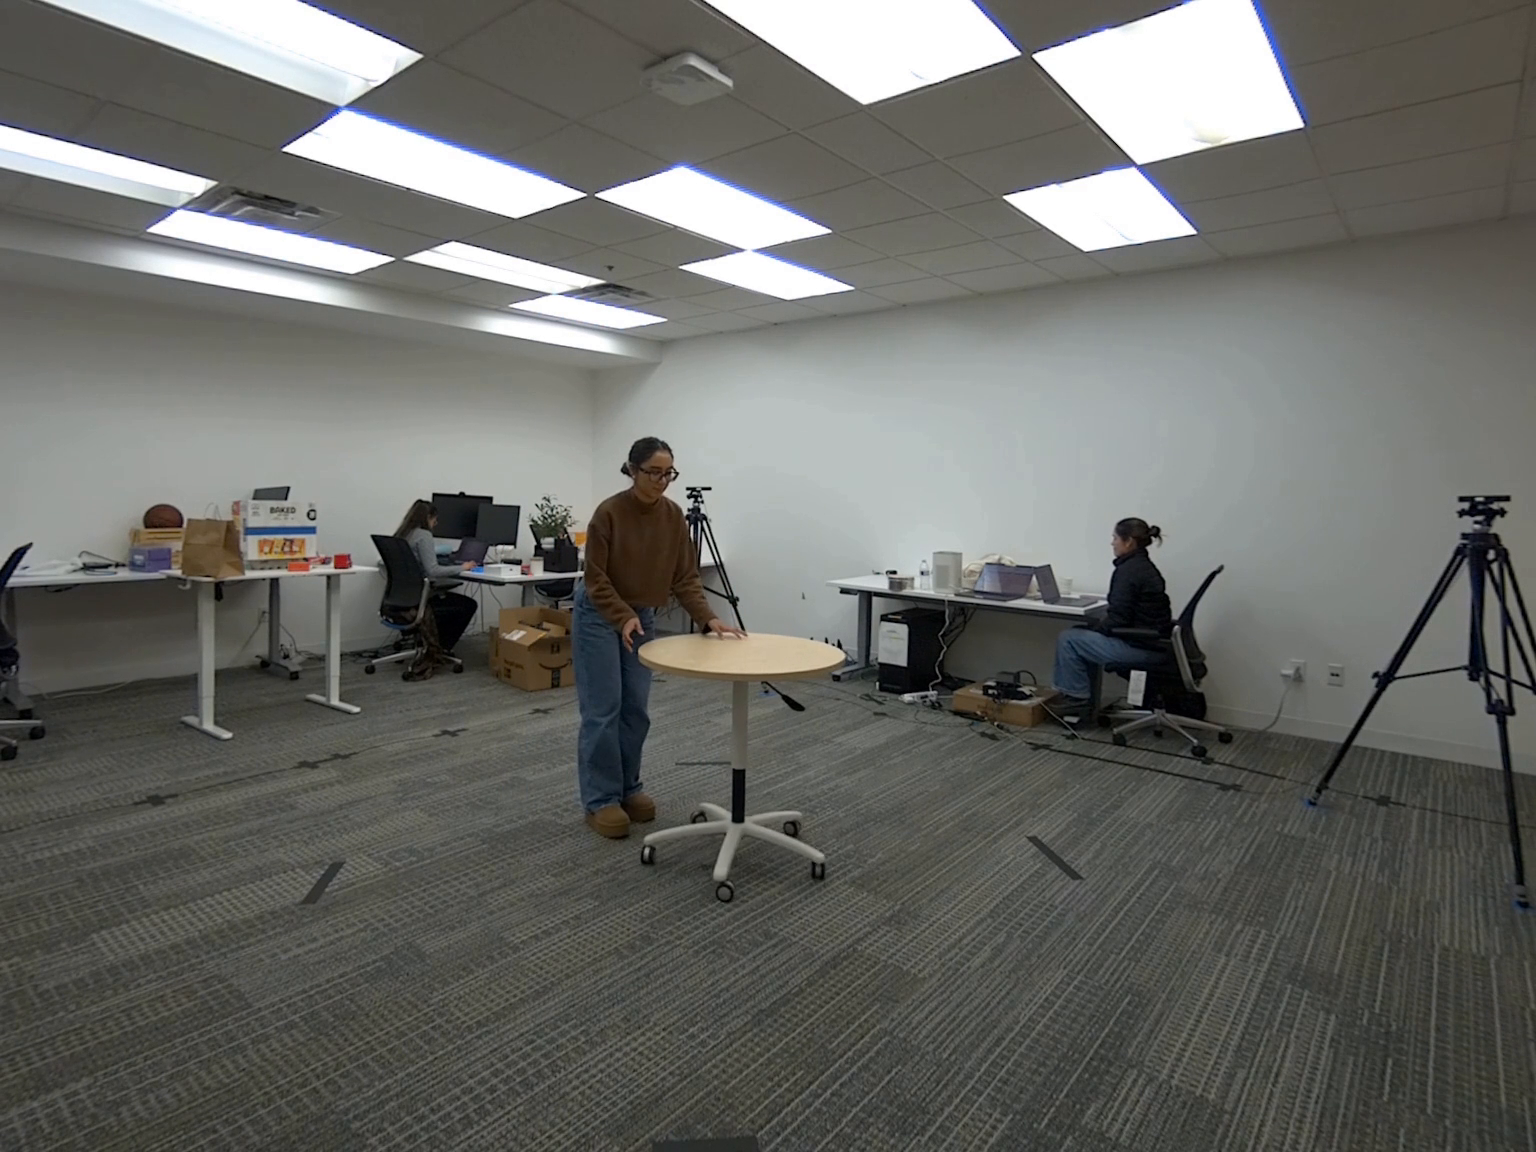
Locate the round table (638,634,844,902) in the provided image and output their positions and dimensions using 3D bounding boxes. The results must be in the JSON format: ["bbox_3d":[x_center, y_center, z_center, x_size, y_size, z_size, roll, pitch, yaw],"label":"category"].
[{"bbox_3d":[-0.120,0.670,3.181,0.763,0.791,0.768,1,4,-2],"label":"round table"}]
